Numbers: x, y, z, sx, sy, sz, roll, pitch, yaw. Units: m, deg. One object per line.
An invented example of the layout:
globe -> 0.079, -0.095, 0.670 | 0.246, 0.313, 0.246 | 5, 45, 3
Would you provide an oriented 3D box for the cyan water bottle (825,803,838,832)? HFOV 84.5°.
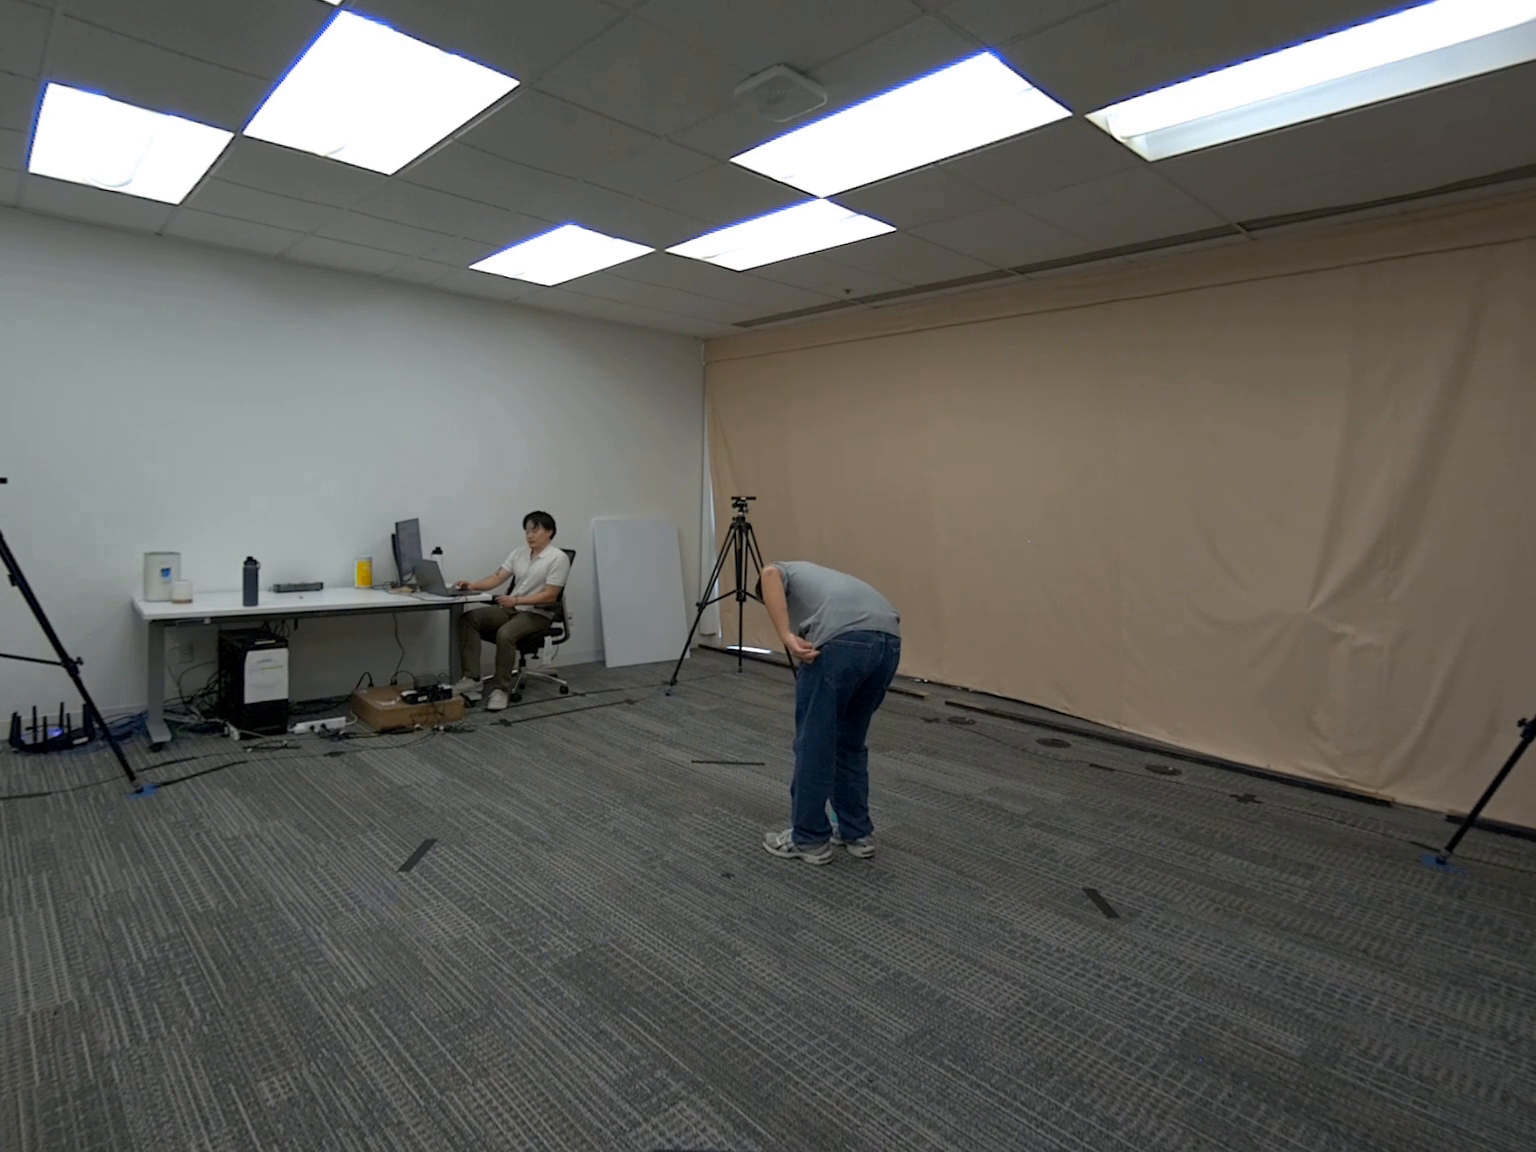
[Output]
cyan water bottle -> 0.314, 0.926, 3.662 | 0.092, 0.282, 0.093 | 3, 5, -2
